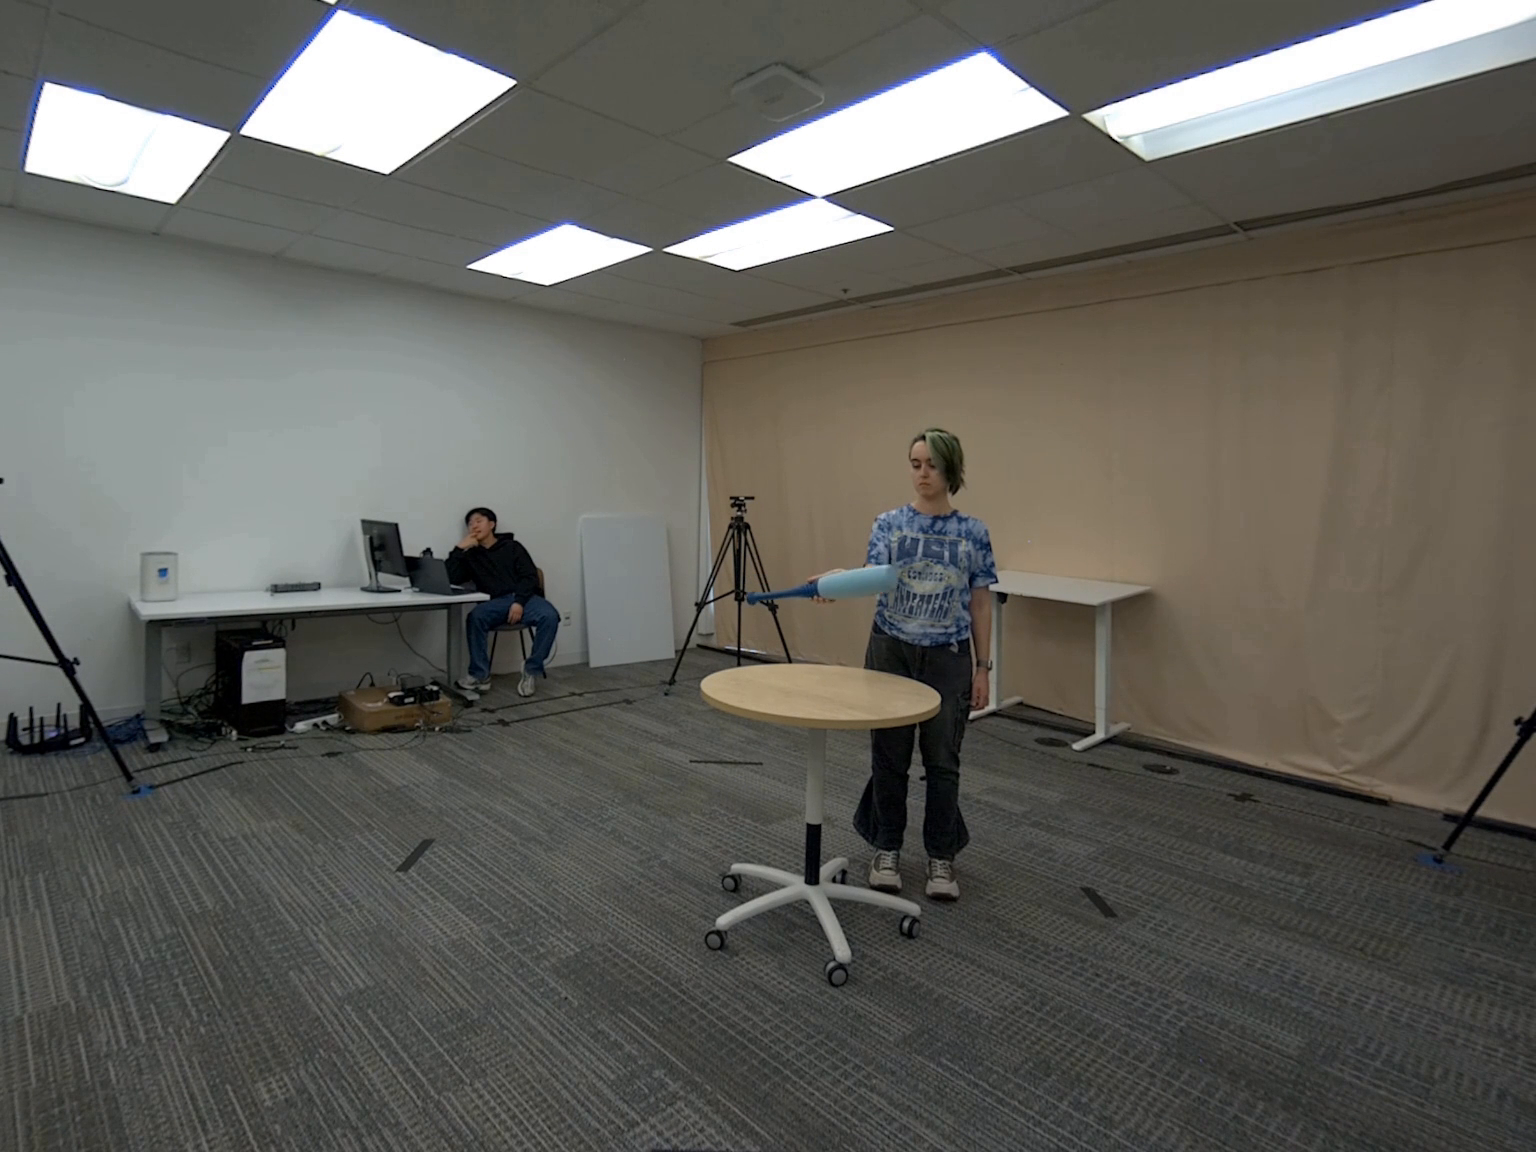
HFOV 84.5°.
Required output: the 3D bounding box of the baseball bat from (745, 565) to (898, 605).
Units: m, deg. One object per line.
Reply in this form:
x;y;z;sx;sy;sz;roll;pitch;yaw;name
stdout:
0.152;0.046;2.706;0.552;0.089;0.087;-10;-2;33;baseball bat
